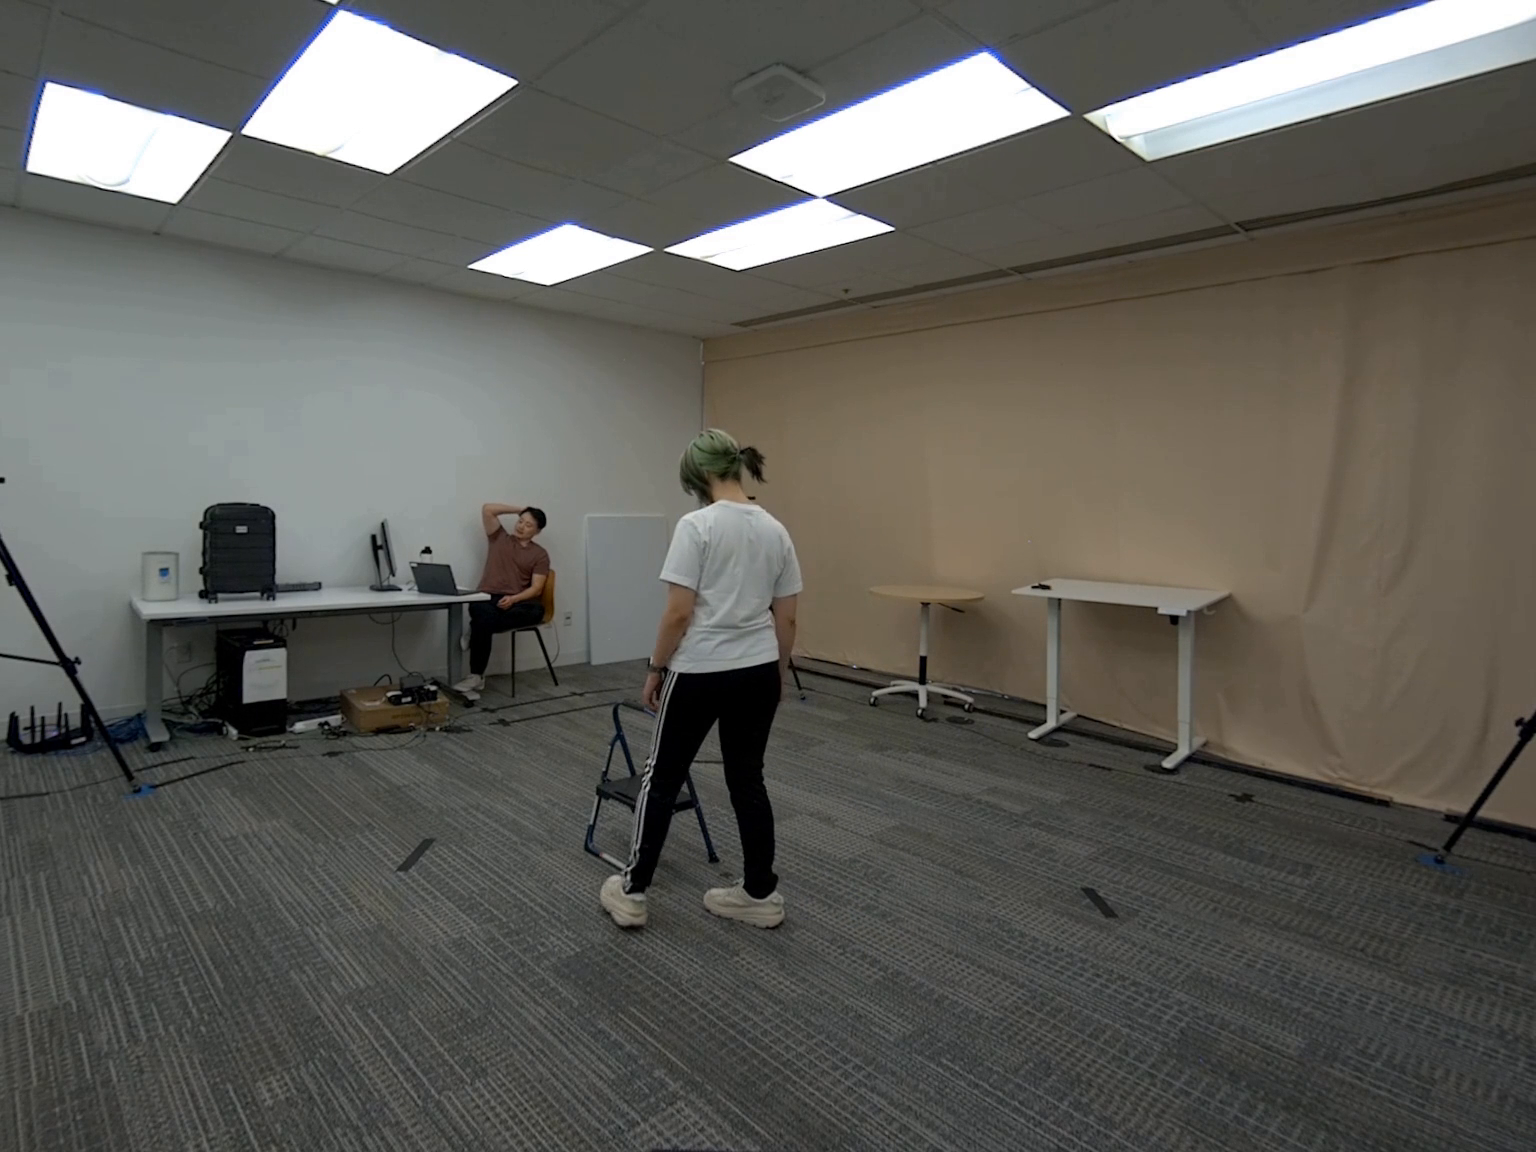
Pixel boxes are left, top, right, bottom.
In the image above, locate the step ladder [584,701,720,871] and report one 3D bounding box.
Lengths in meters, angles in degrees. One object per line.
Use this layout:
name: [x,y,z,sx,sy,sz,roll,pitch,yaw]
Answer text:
step ladder: [-0.454,0.782,3.245,0.341,0.605,0.441,-1,4,-44]
